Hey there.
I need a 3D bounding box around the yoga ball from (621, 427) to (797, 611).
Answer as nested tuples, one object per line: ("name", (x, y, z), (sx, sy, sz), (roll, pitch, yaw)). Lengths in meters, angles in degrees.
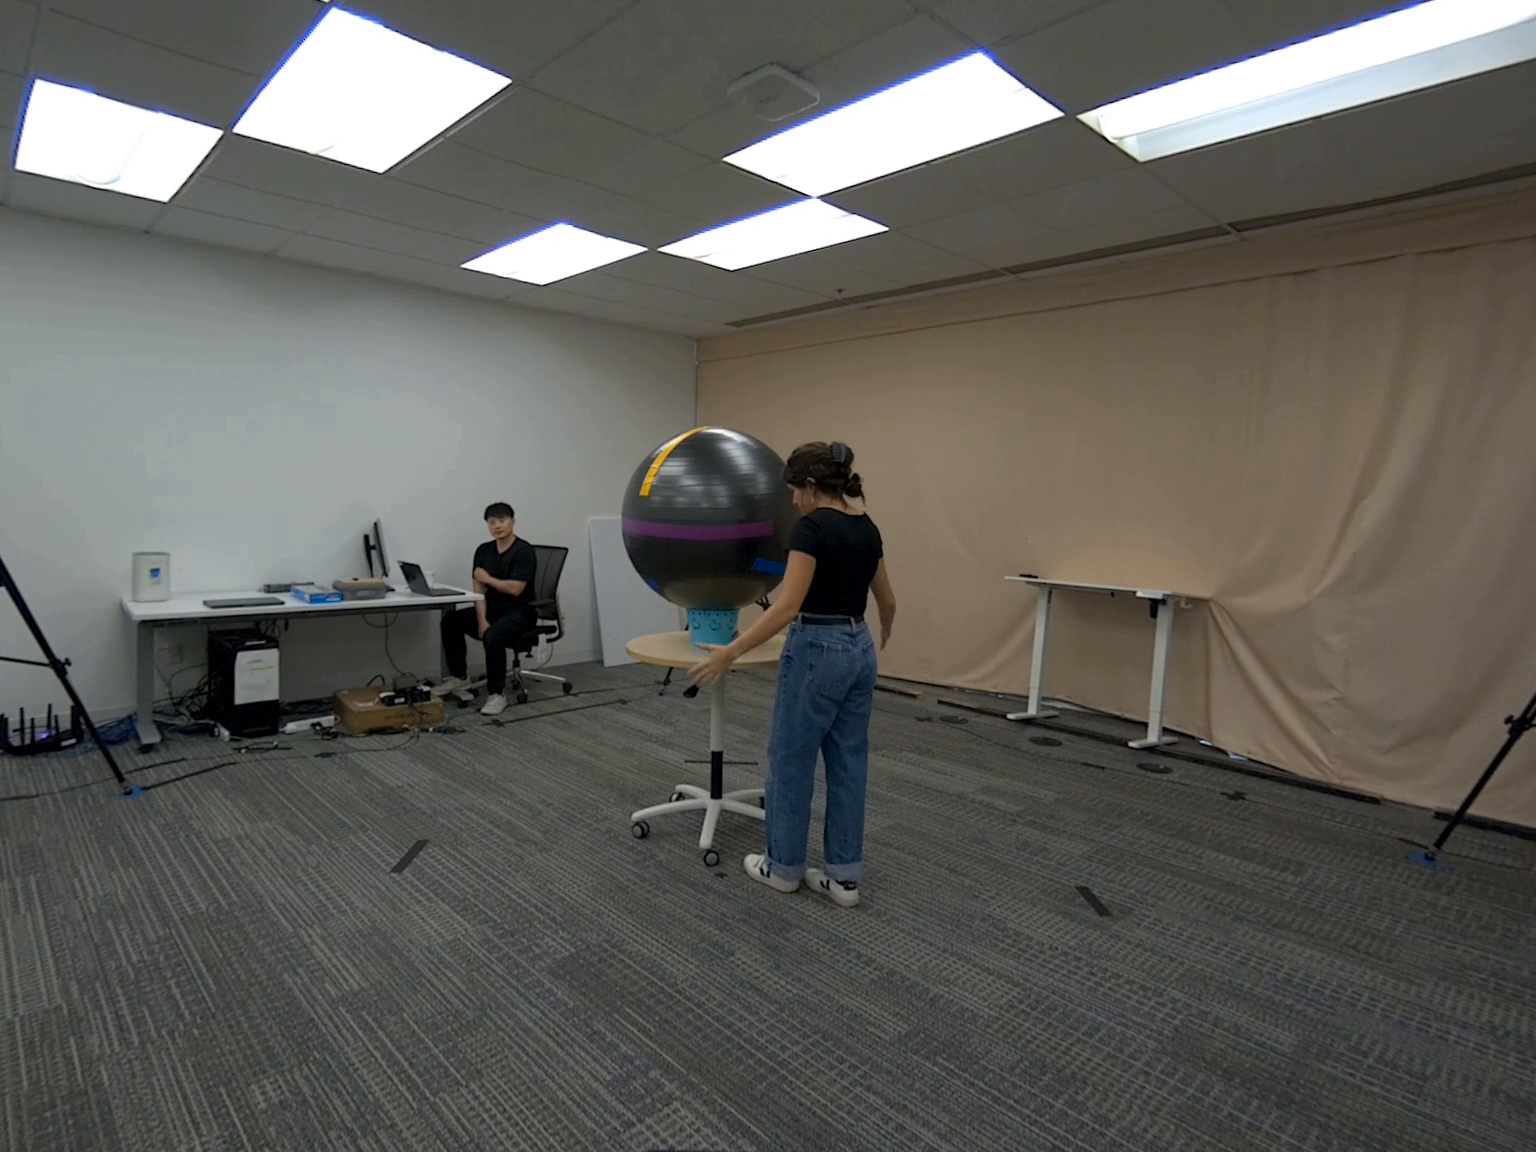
("yoga ball", (-0.234, -0.231, 3.490), (0.757, 0.756, 0.761), (1, 4, -1))
